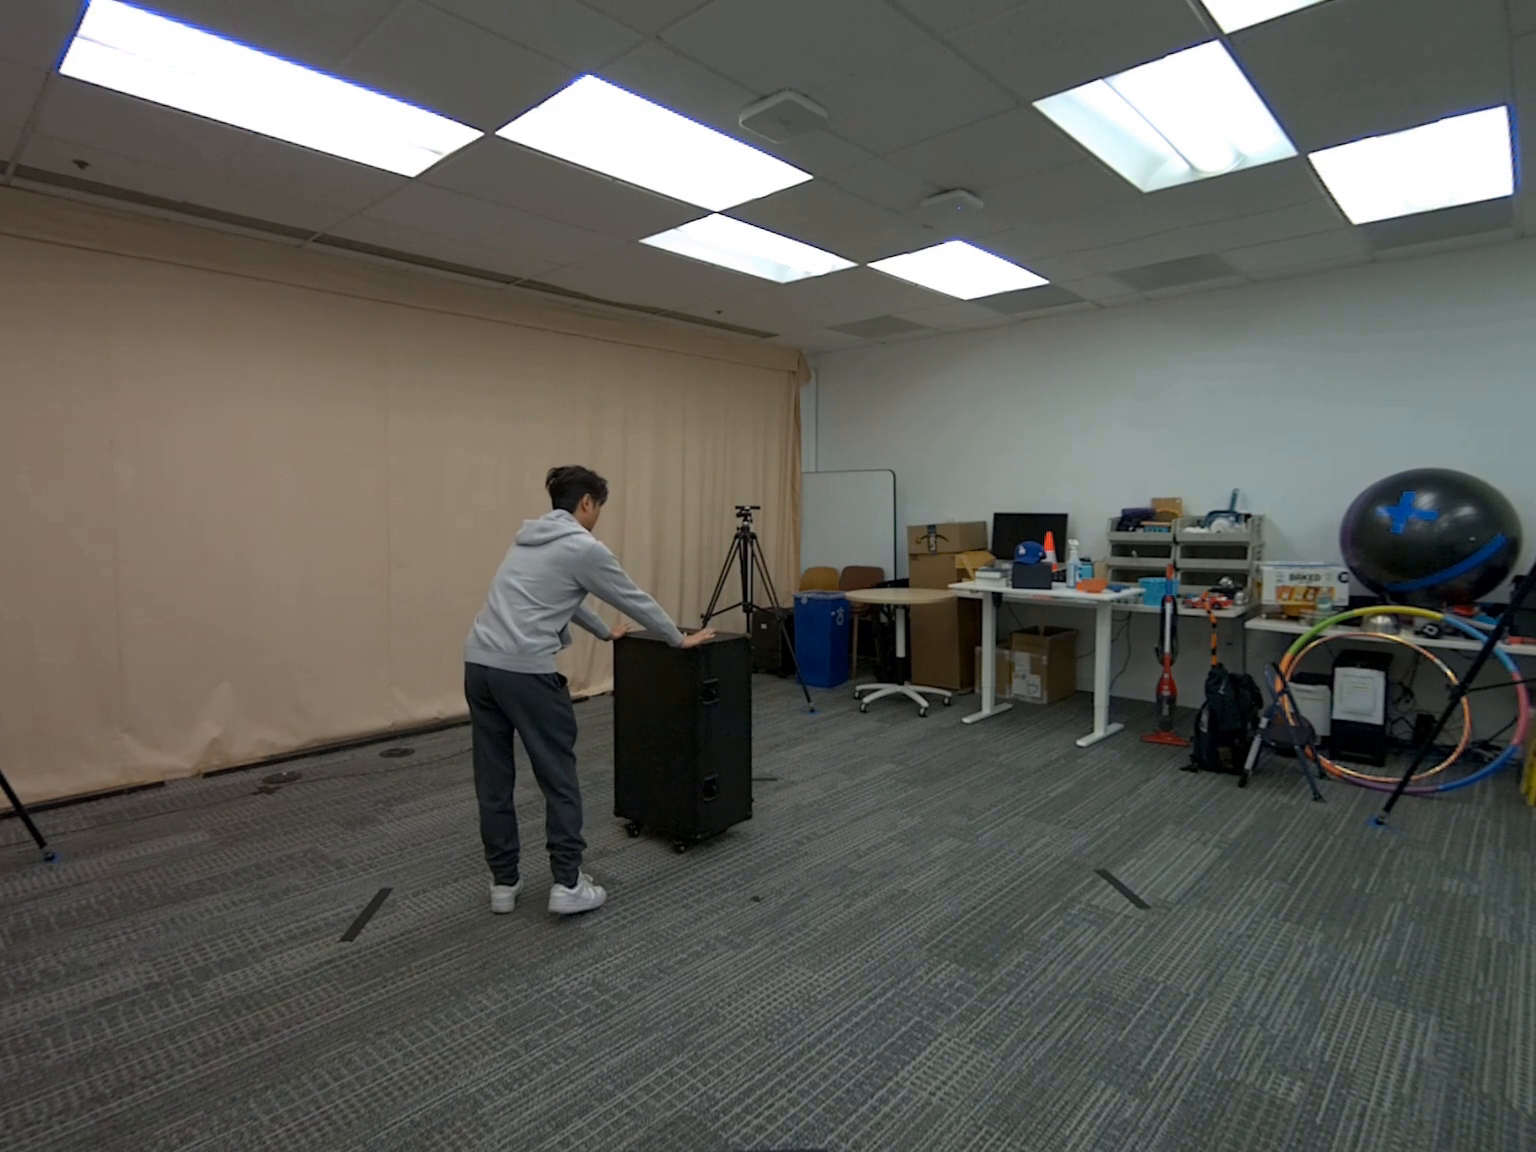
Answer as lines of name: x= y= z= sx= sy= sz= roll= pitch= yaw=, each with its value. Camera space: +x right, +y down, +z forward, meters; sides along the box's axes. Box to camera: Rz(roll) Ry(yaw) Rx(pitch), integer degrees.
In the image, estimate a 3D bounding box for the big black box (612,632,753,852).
big black box: x=-0.362 y=0.671 z=3.590 sx=0.538 sy=0.860 sz=0.384 roll=2 pitch=2 yaw=39
